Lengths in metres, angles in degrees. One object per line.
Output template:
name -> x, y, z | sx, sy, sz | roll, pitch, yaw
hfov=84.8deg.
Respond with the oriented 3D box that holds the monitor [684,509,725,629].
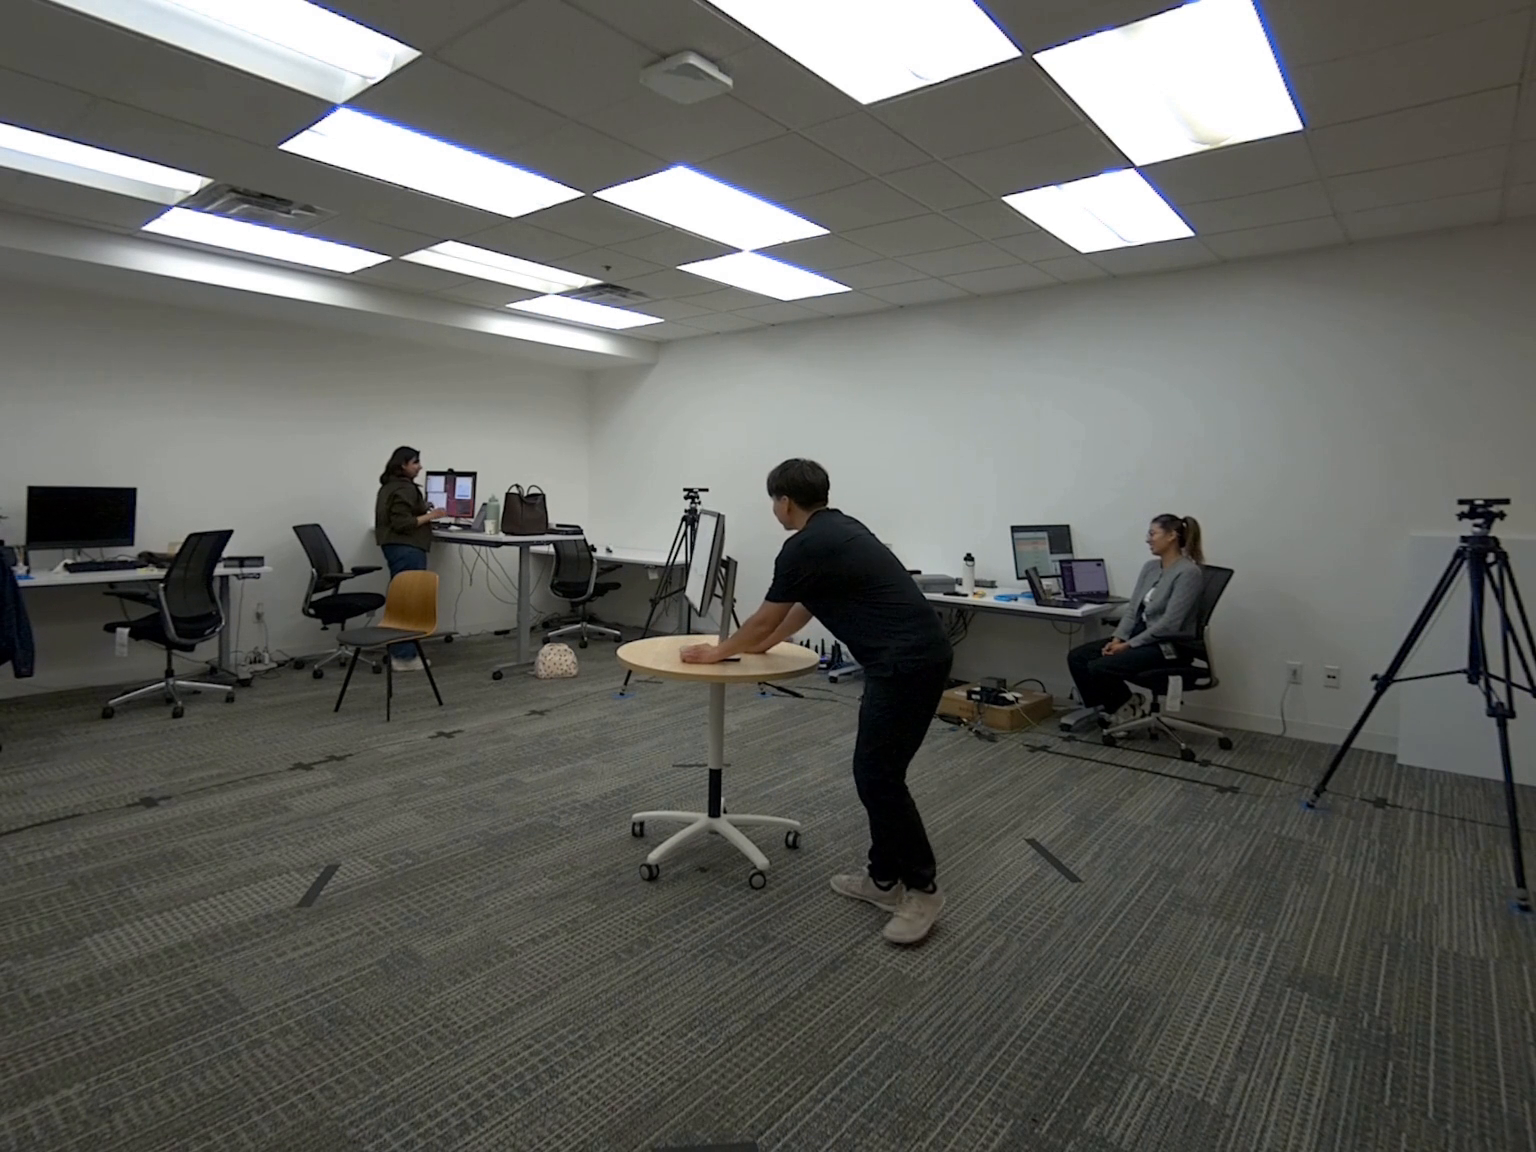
monitor -> -0.219, 0.030, 3.172 | 0.185, 0.521, 0.546 | -1, 4, -11
